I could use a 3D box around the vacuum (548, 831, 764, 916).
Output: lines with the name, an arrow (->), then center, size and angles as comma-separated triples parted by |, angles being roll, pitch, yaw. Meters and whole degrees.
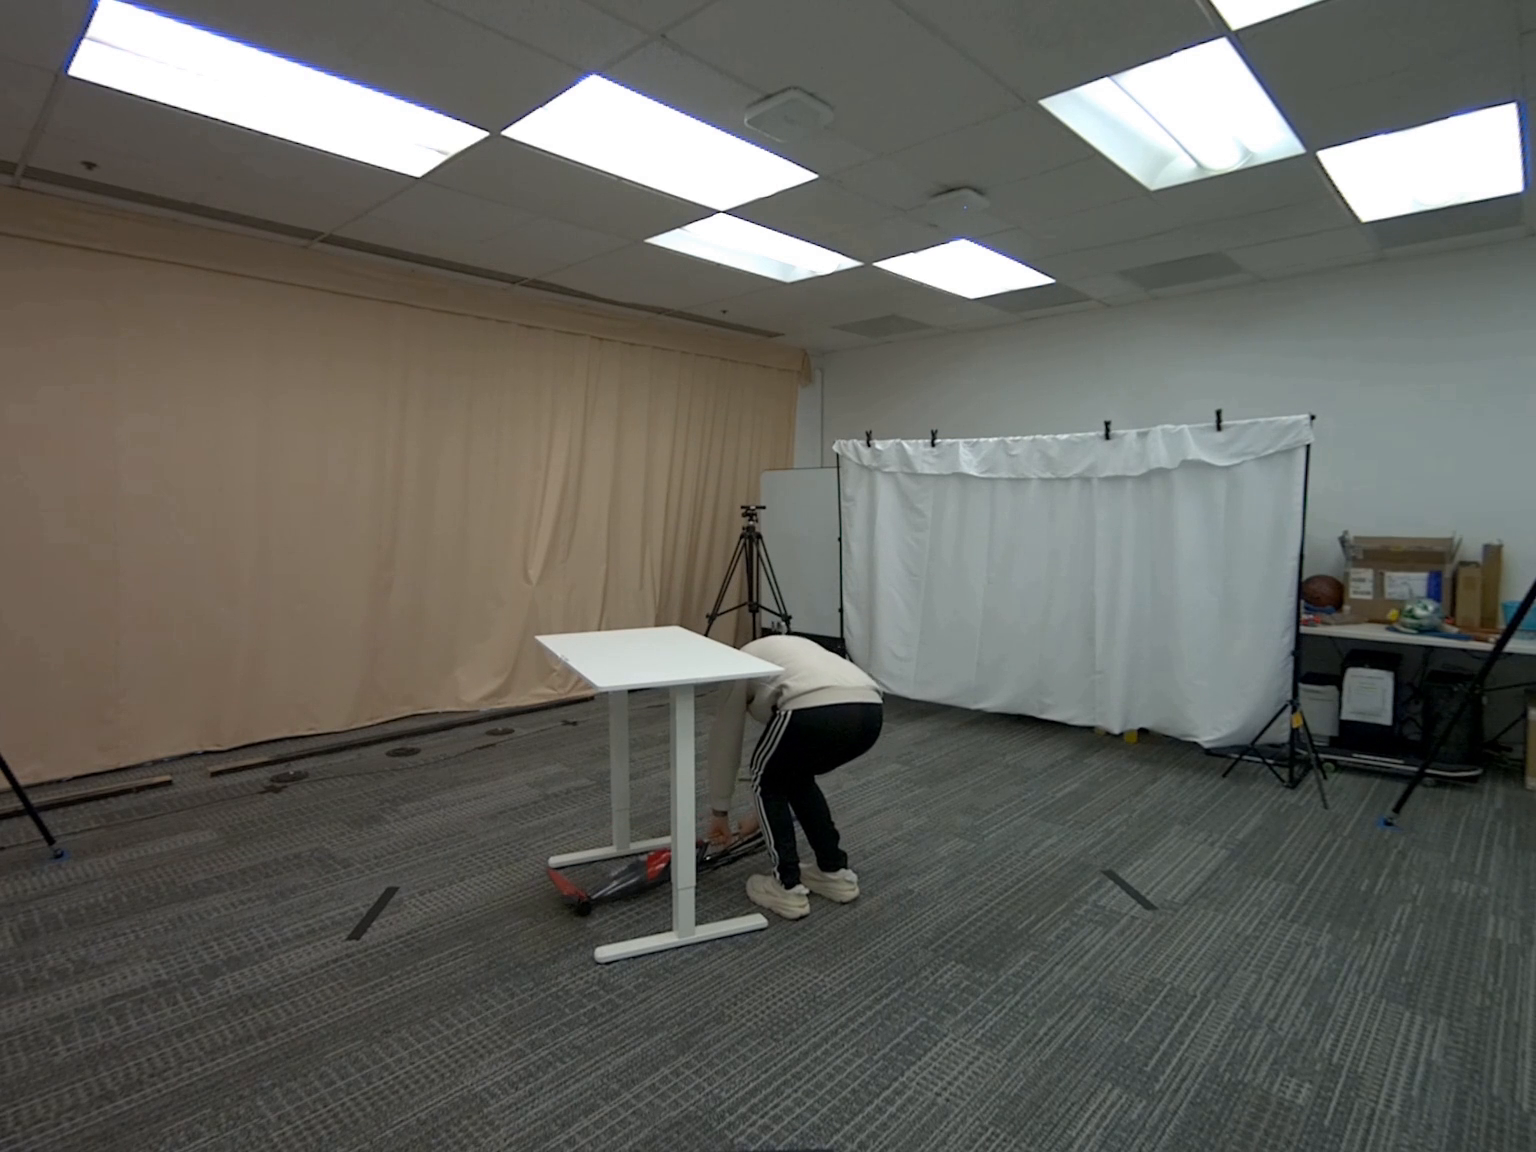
vacuum -> -0.243, 1.036, 3.120 | 1.025, 0.144, 0.259 | -6, 4, -26
